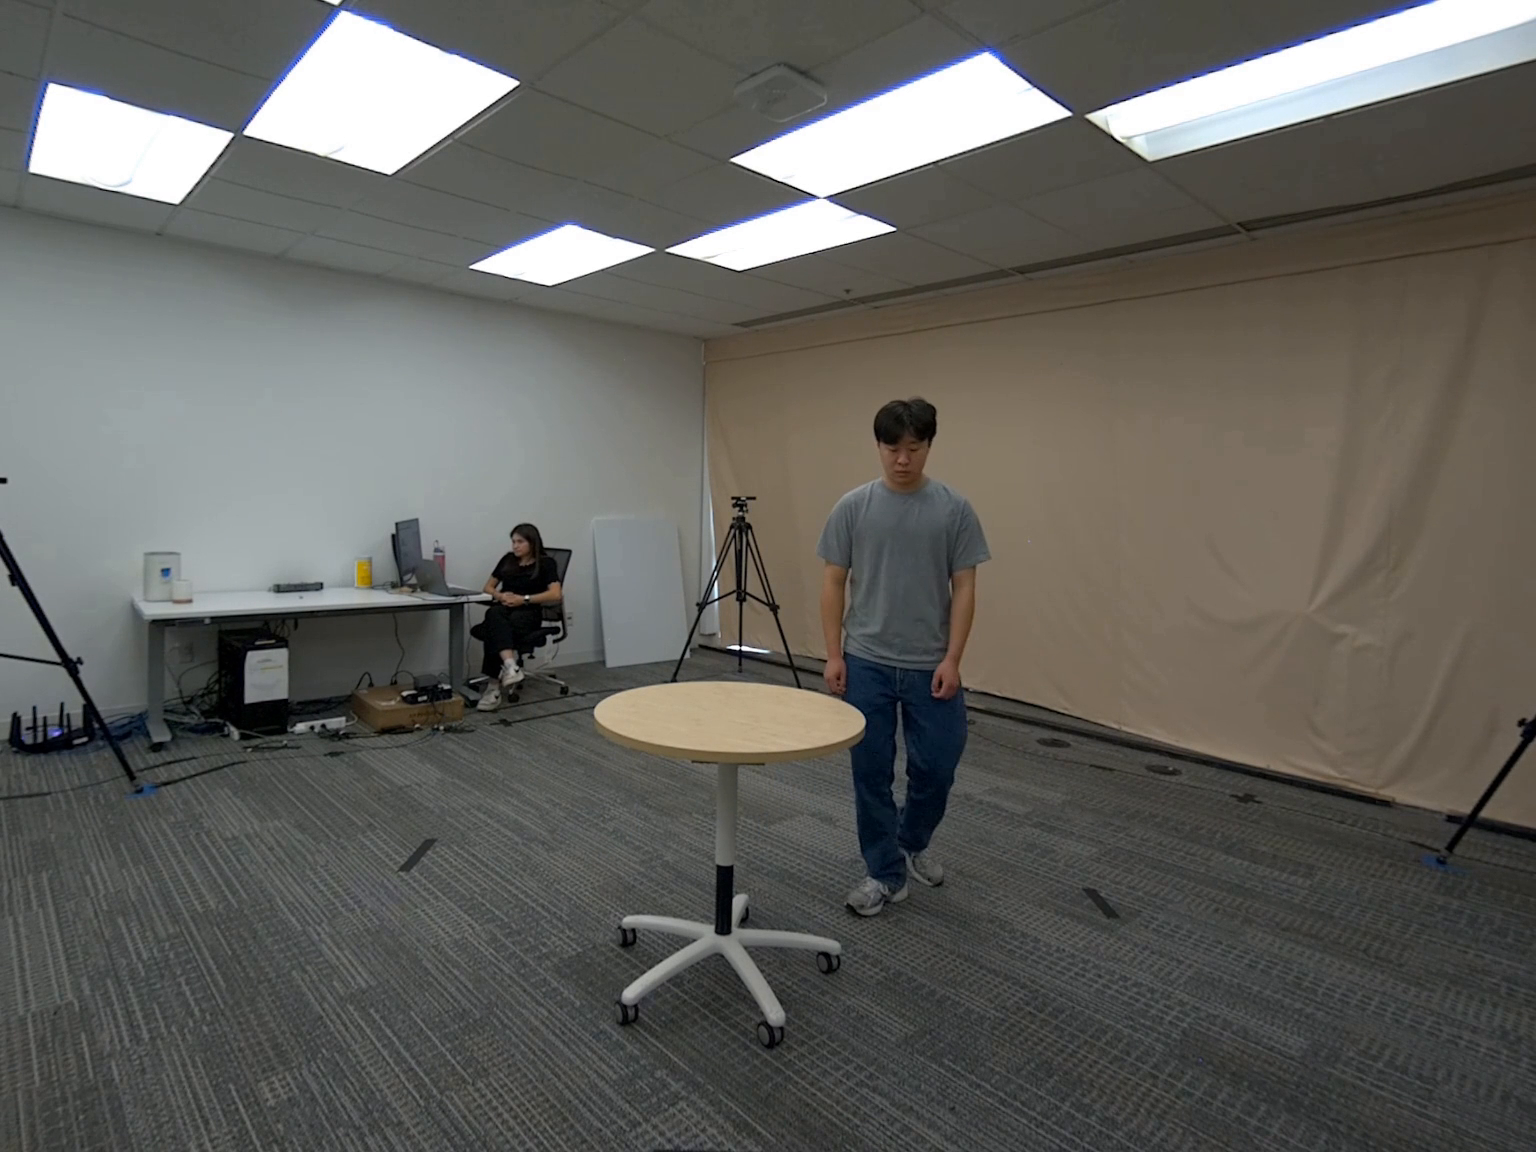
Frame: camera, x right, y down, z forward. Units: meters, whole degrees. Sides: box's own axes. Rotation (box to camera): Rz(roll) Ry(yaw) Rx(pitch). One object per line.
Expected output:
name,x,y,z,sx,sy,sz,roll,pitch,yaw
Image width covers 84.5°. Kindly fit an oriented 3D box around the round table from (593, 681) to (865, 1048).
round table,-0.127,0.783,2.412,0.763,0.792,0.767,2,4,-1
